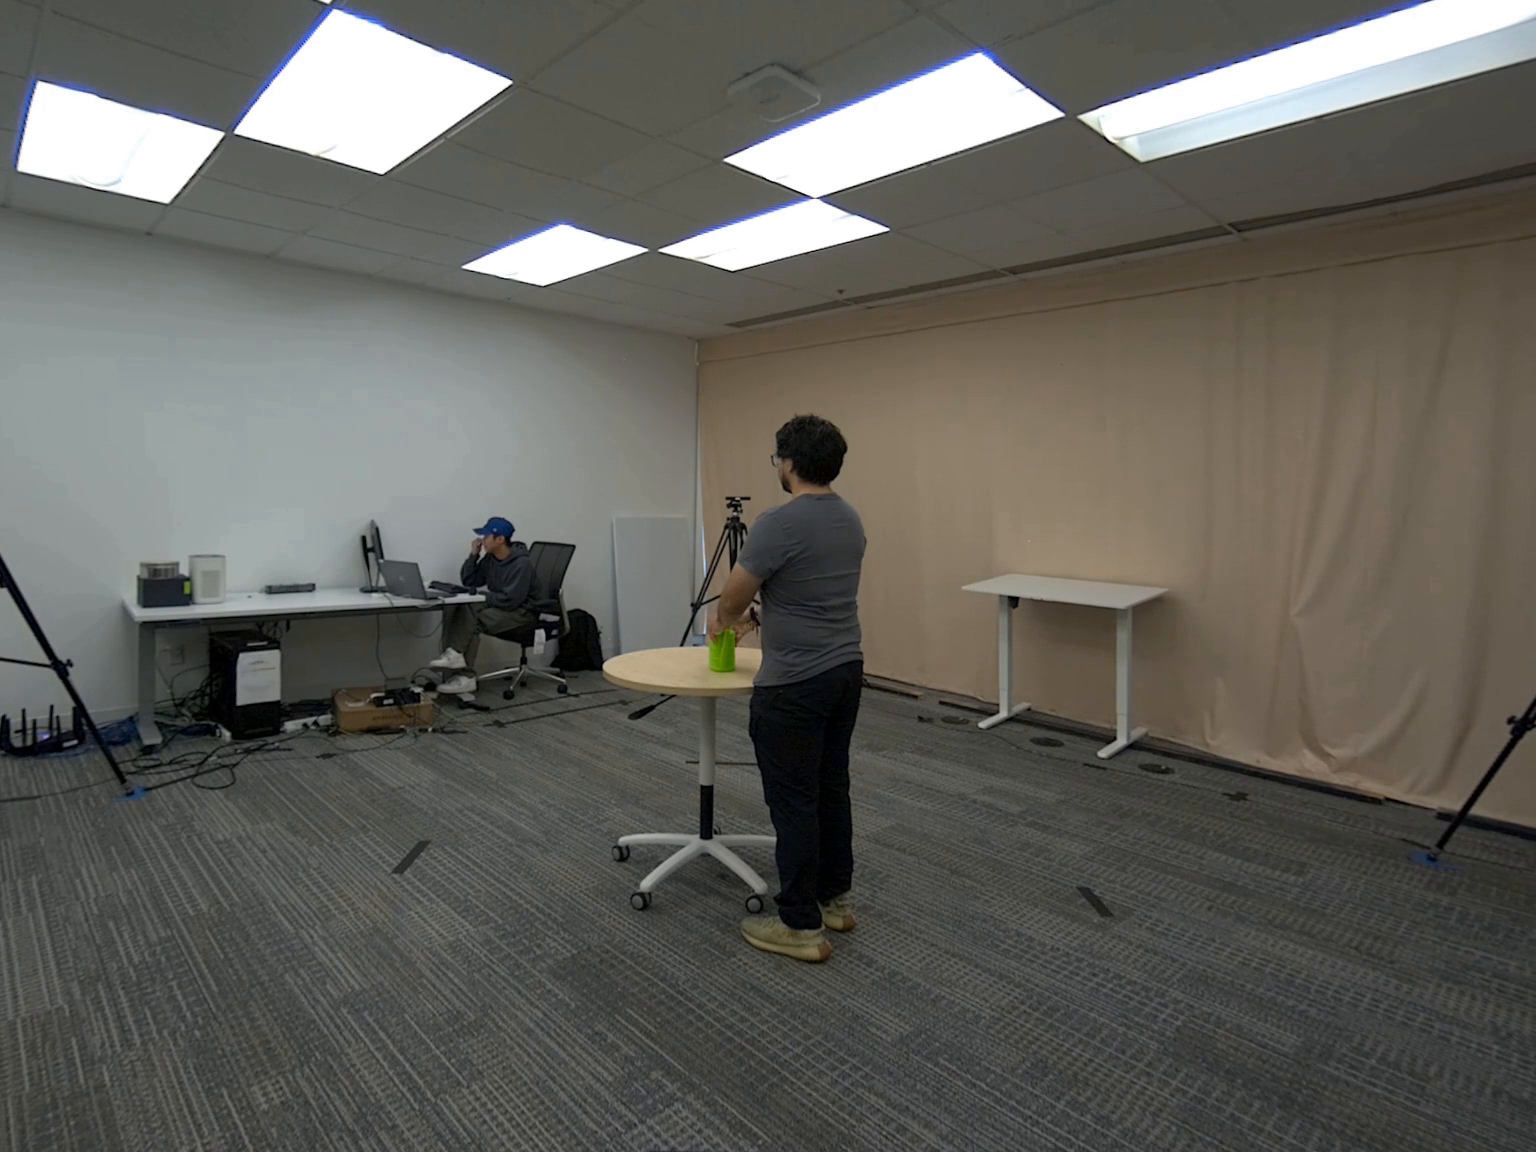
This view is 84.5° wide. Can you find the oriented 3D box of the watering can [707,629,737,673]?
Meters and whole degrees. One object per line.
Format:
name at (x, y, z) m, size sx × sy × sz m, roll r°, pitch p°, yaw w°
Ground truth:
watering can at (-0.174, 0.256, 2.953) m, size 0.098 × 0.176 × 0.278 m, roll 1°, pitch 5°, yaw 3°
